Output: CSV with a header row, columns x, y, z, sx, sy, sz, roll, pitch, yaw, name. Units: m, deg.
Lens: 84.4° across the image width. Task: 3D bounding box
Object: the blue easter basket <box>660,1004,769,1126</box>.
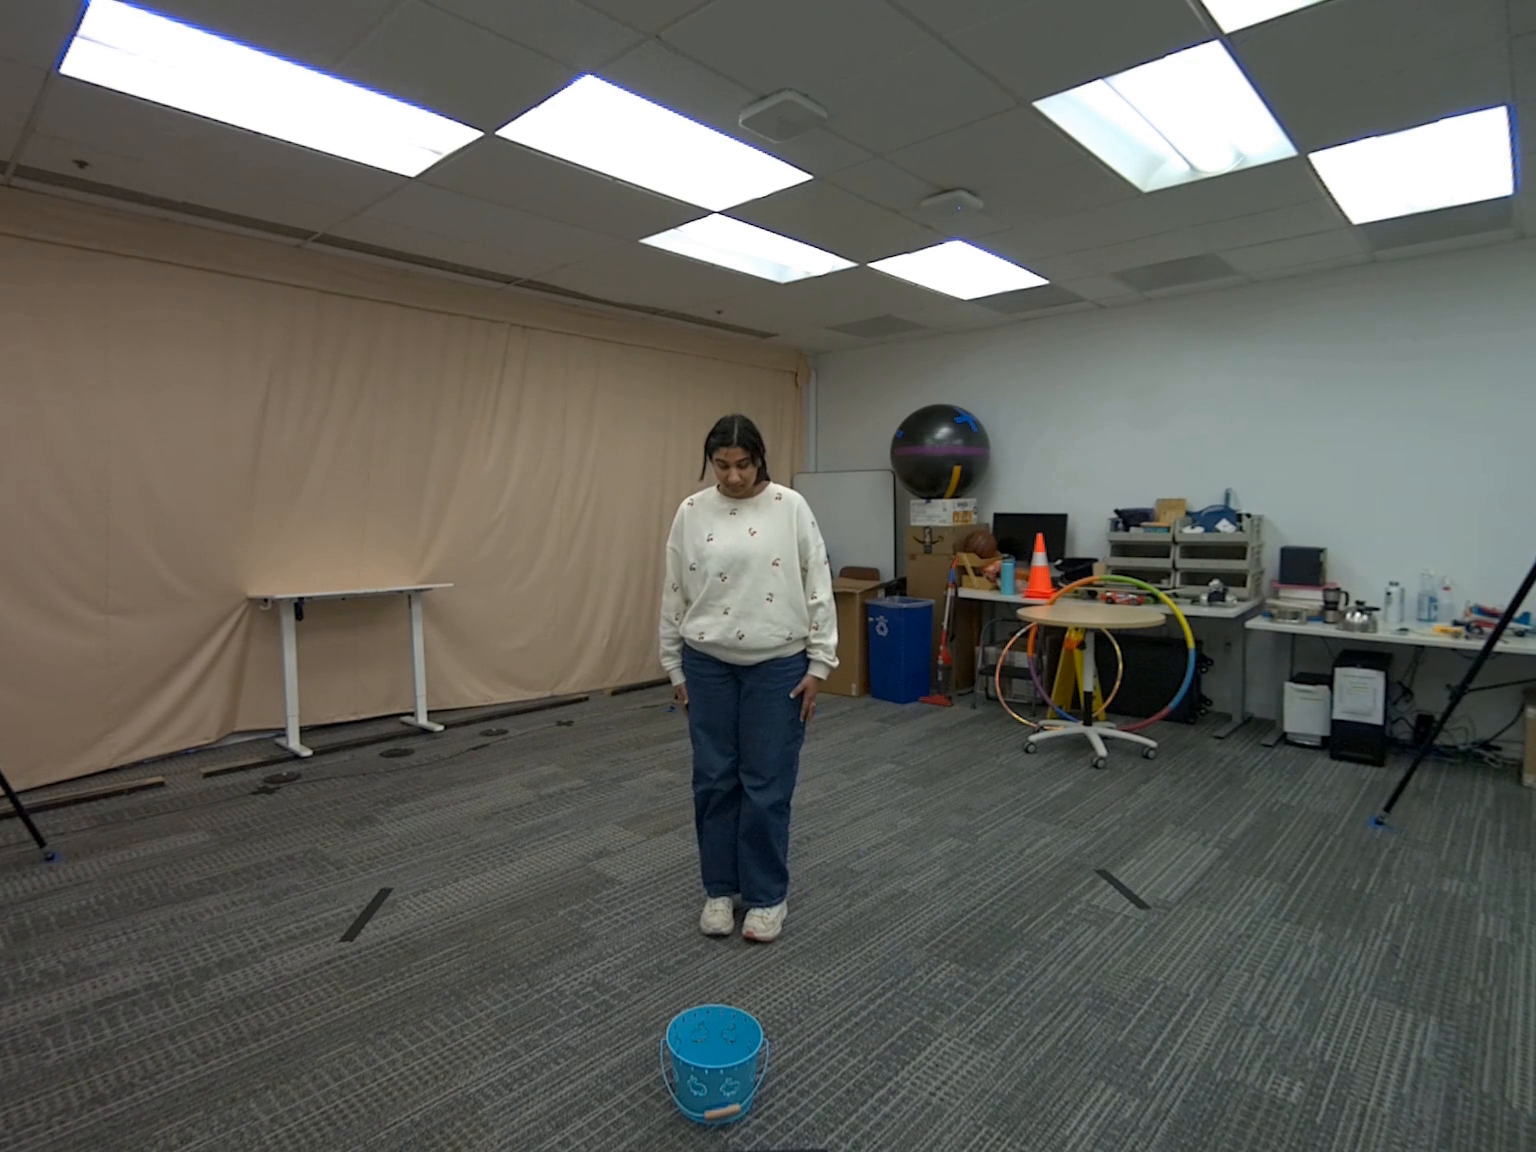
x,y,z,sx,sy,sz,roll,pitch,yaw,name
-0.130,1.146,1.982,0.243,0.155,0.244,0,4,-2,blue easter basket
